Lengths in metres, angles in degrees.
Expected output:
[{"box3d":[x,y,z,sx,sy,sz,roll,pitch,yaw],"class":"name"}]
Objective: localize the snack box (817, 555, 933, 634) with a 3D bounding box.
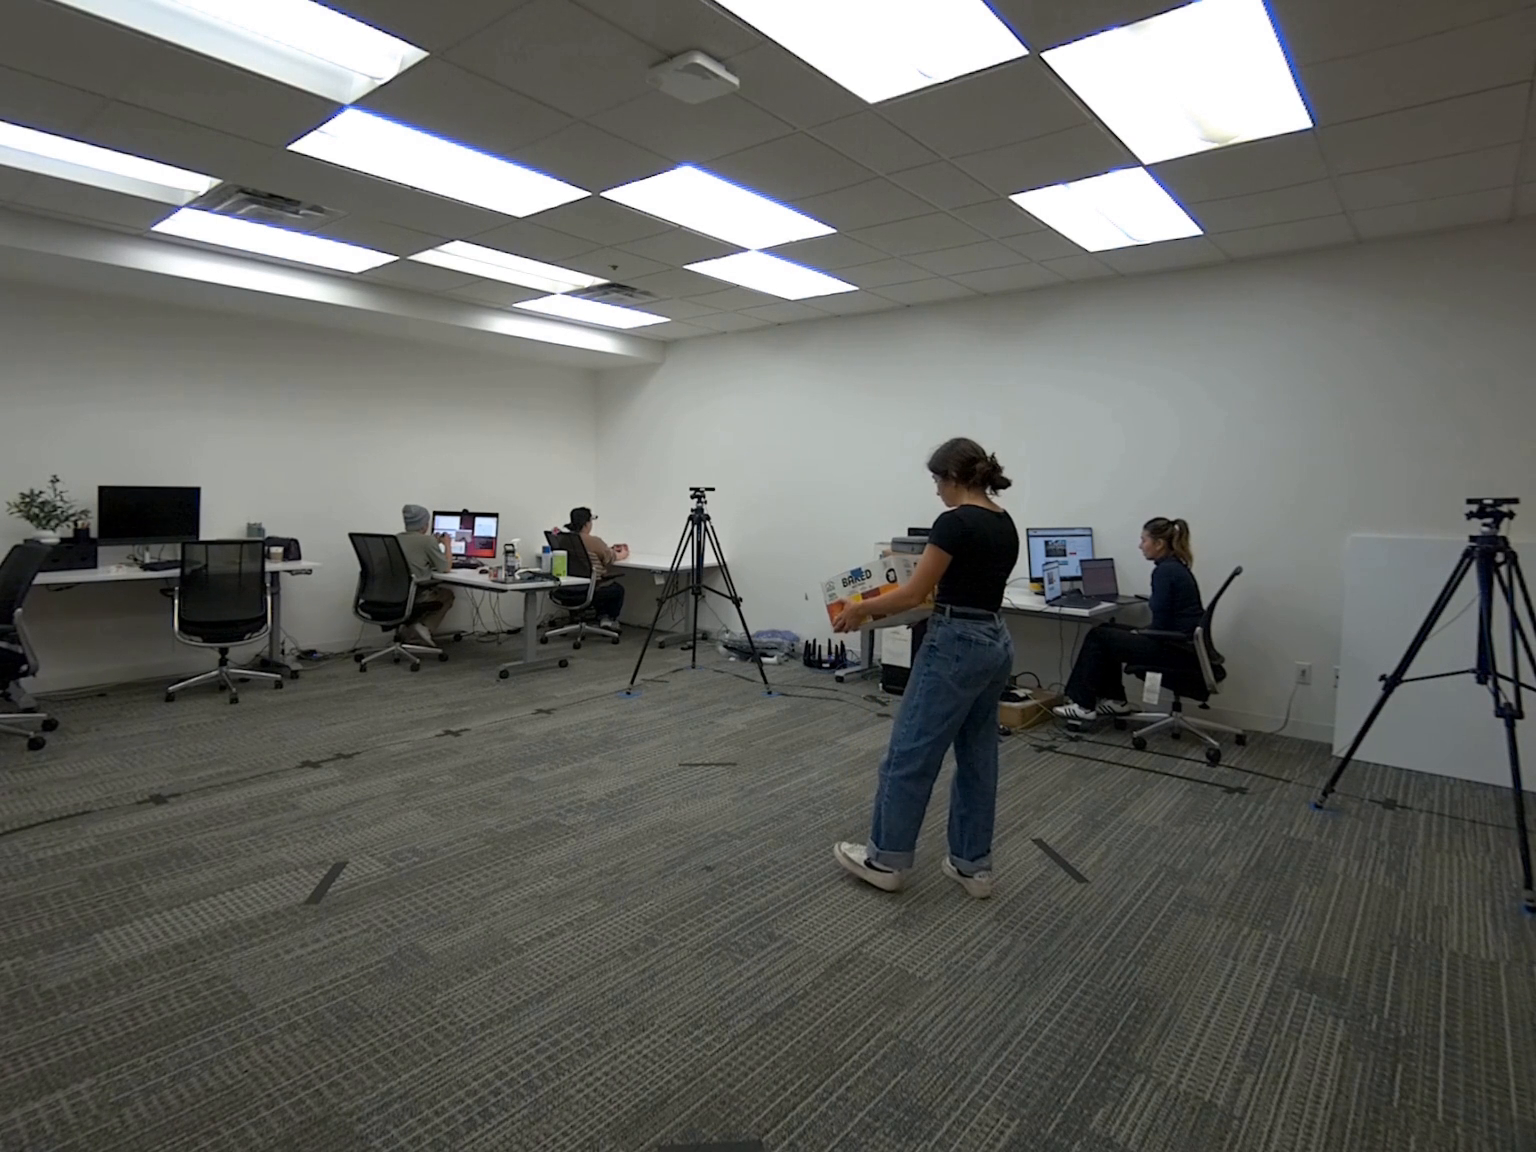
[{"box3d":[0.468,0.066,3.218,0.392,0.209,0.346,-1,-16,-46],"class":"snack box"}]
